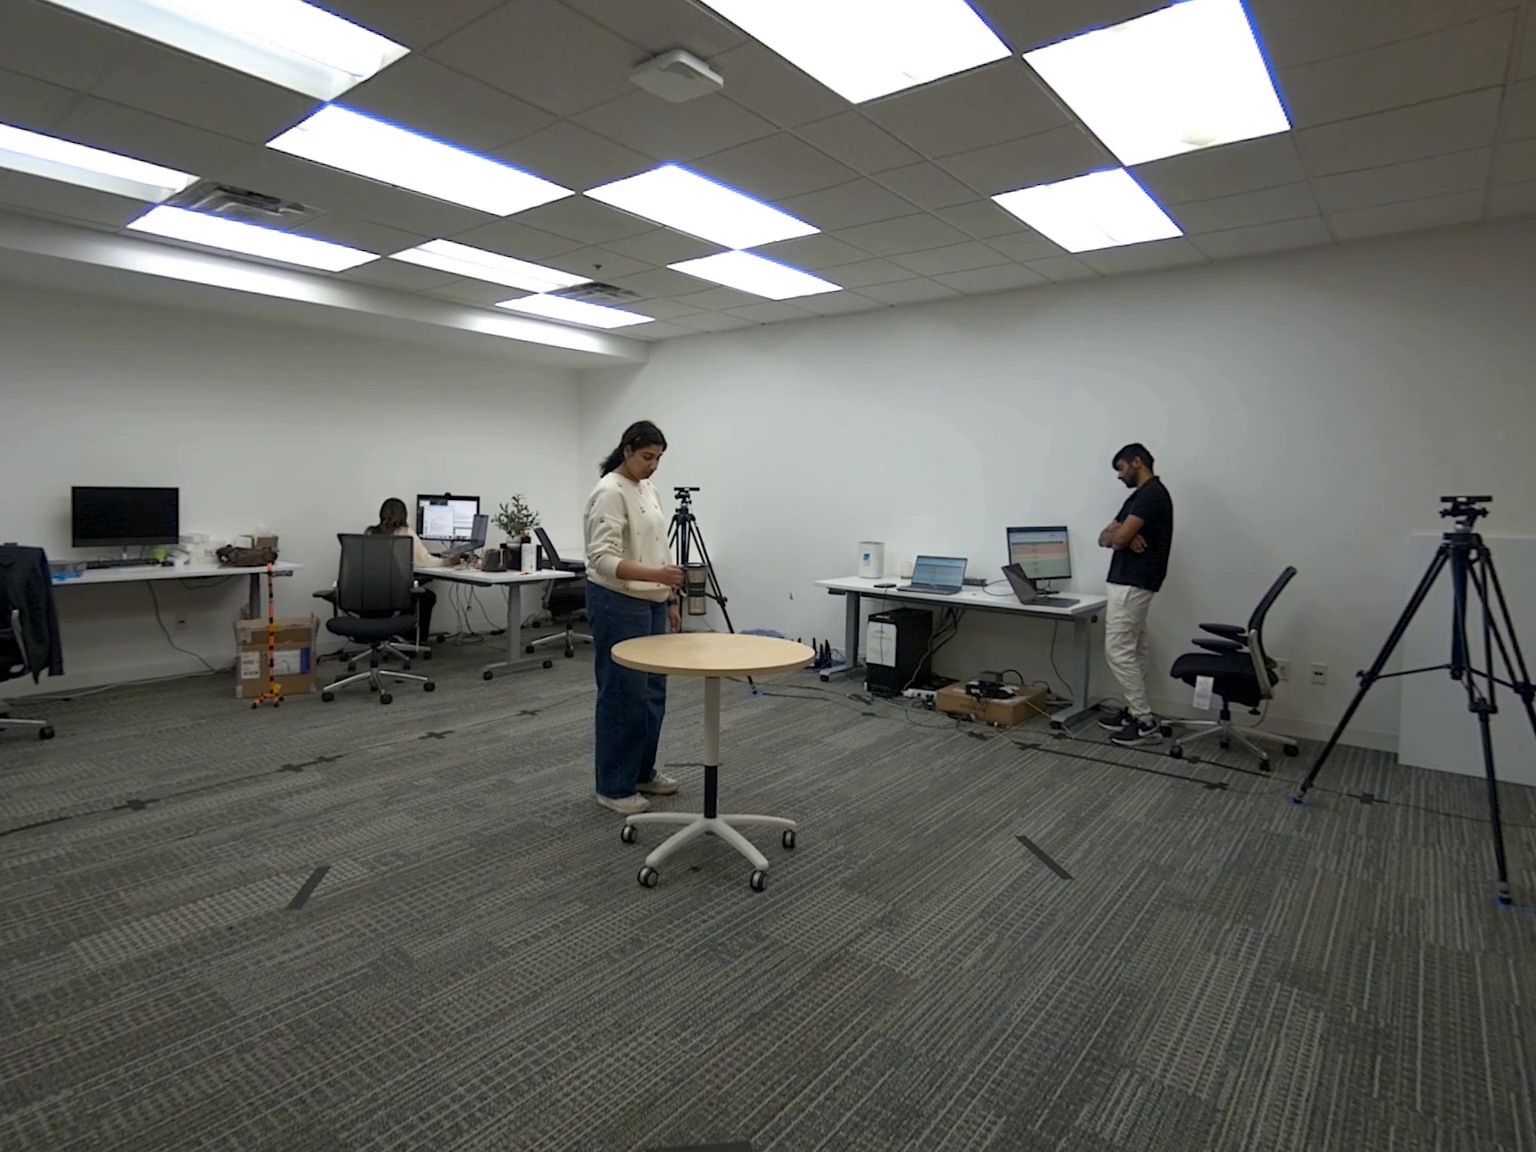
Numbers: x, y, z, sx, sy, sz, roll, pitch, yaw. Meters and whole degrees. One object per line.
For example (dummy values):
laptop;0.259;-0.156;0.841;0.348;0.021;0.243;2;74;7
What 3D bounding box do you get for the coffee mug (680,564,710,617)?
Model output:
coffee mug;-0.312;0.050;3.381;0.126;0.202;0.085;8;9;42
